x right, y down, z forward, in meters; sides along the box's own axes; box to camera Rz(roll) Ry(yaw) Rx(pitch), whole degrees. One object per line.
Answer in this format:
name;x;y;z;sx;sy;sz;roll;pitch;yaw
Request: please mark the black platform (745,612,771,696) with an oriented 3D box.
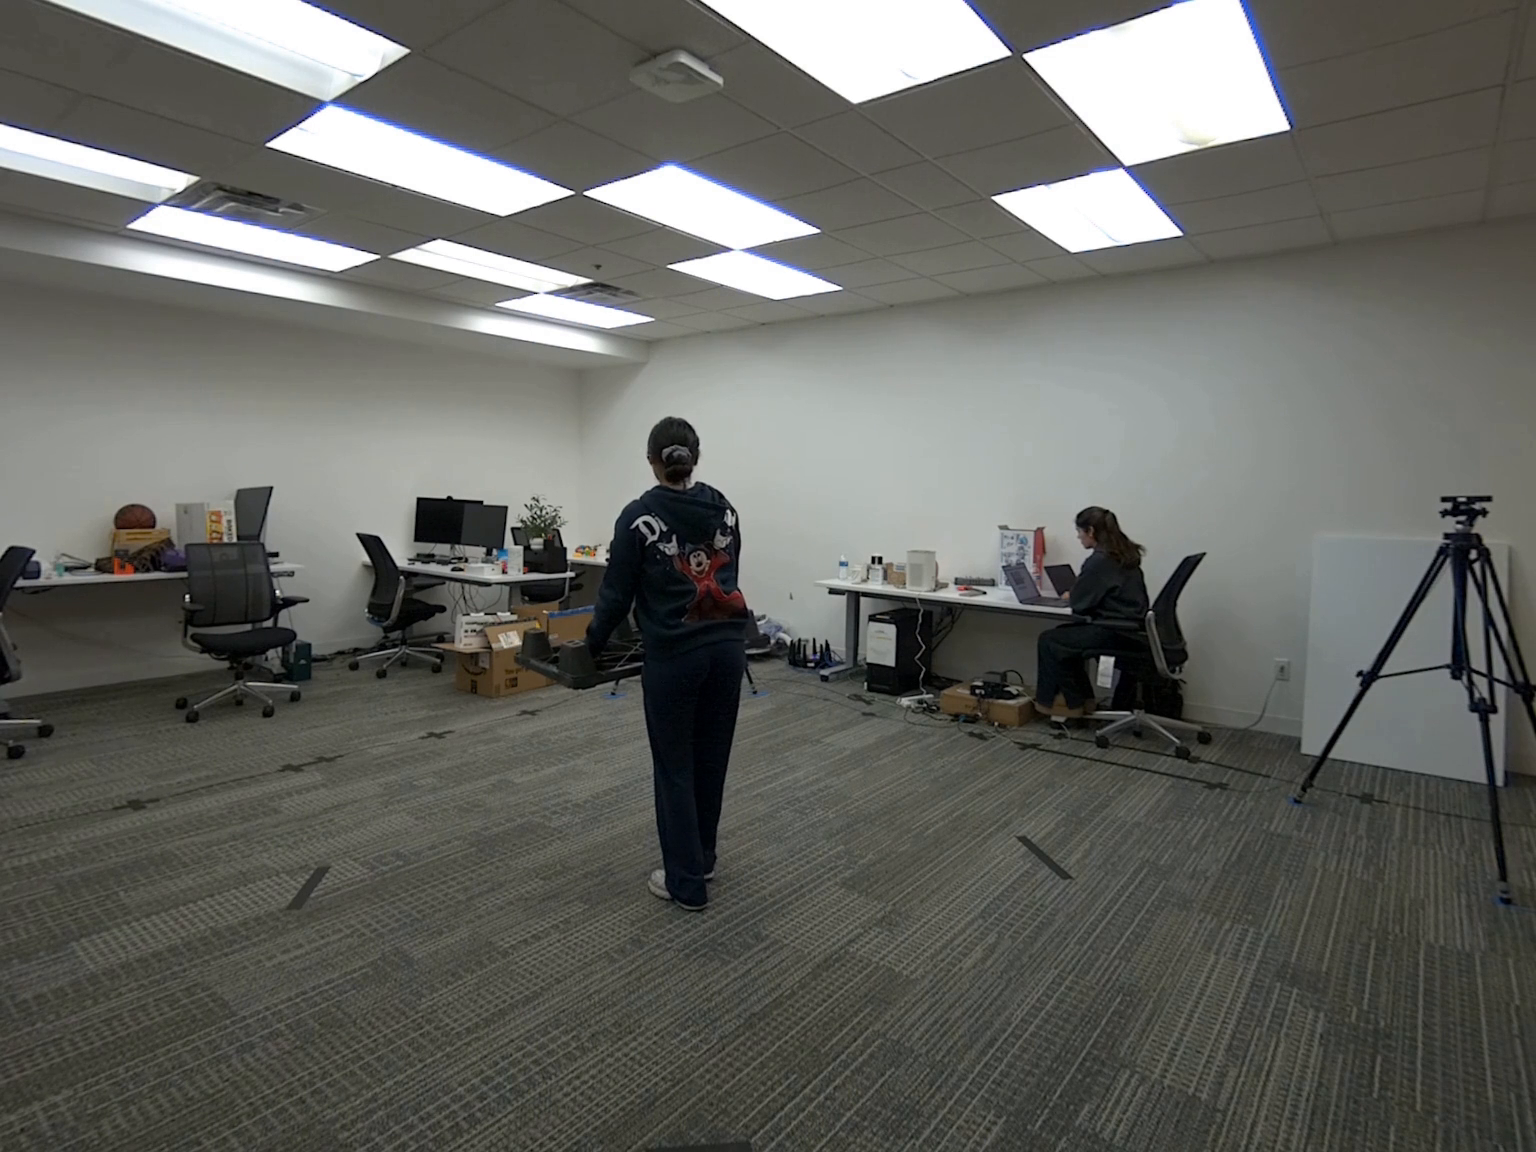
black platform;-0.492;0.225;3.204;0.786;0.142;0.624;-9;8;-33
